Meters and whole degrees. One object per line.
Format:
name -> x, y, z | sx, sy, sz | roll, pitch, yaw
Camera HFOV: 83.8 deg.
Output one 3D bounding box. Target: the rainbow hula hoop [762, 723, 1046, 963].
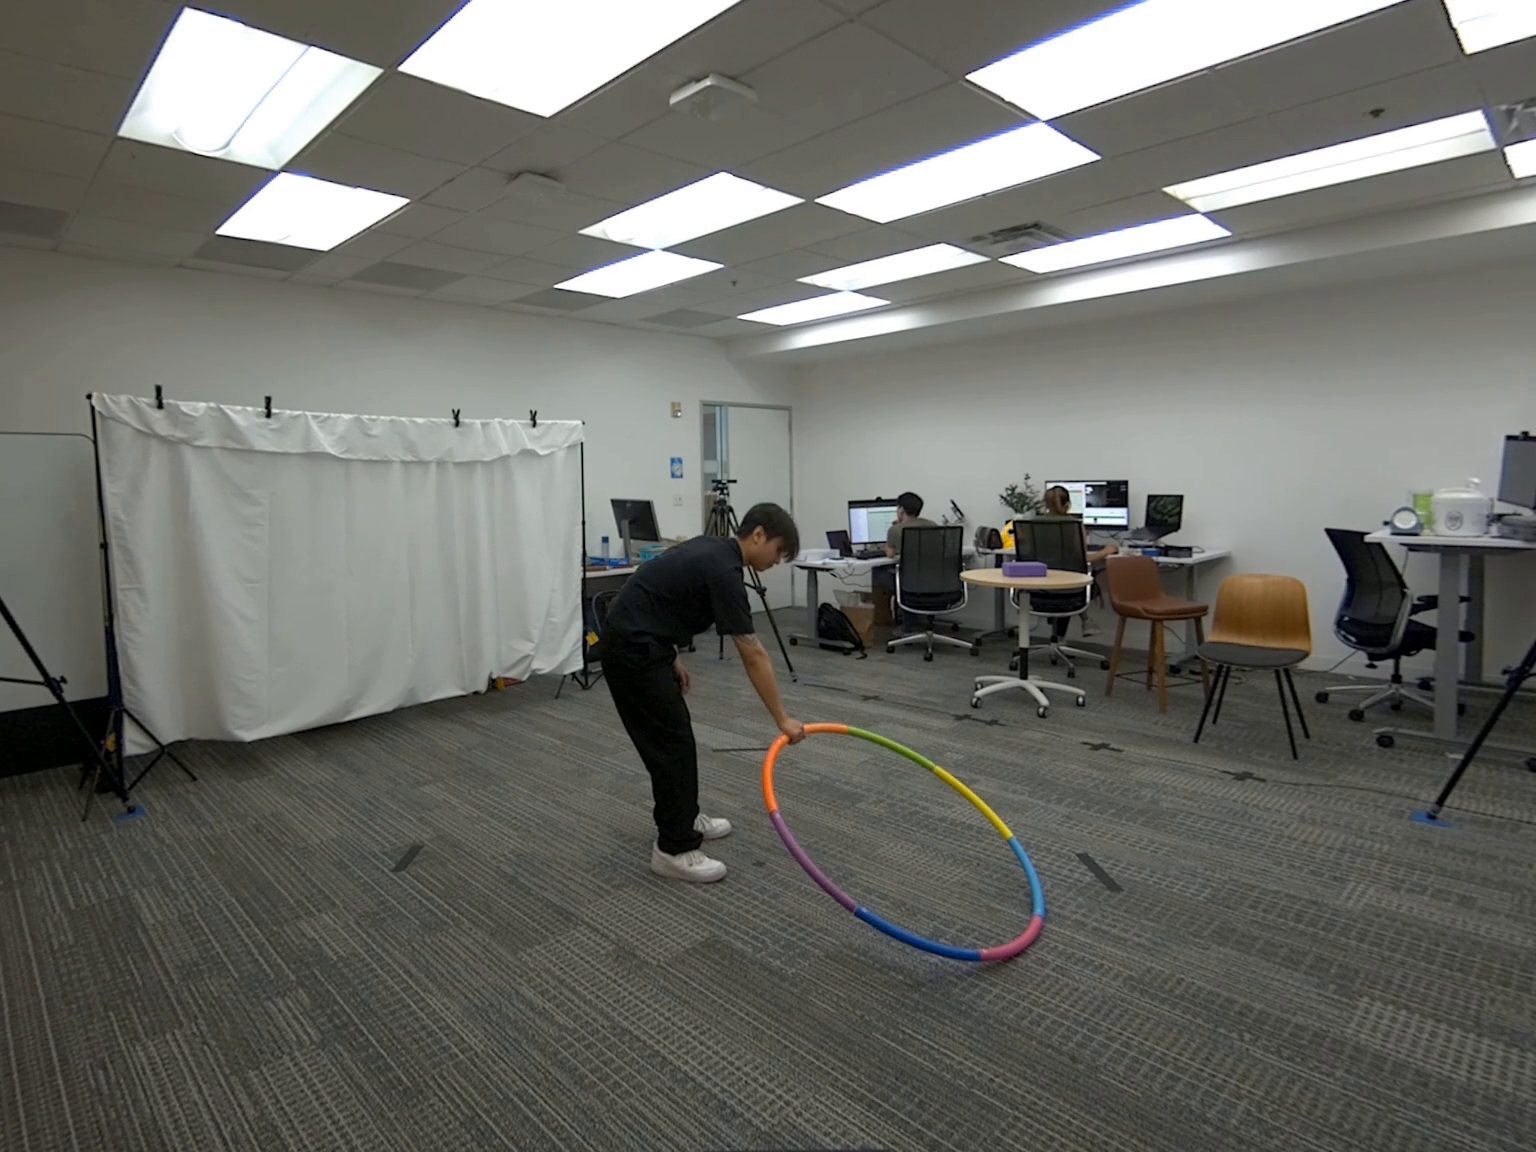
rainbow hula hoop -> 0.436, 0.814, 2.808 | 0.968, 0.035, 0.999 | 19, 23, -10
